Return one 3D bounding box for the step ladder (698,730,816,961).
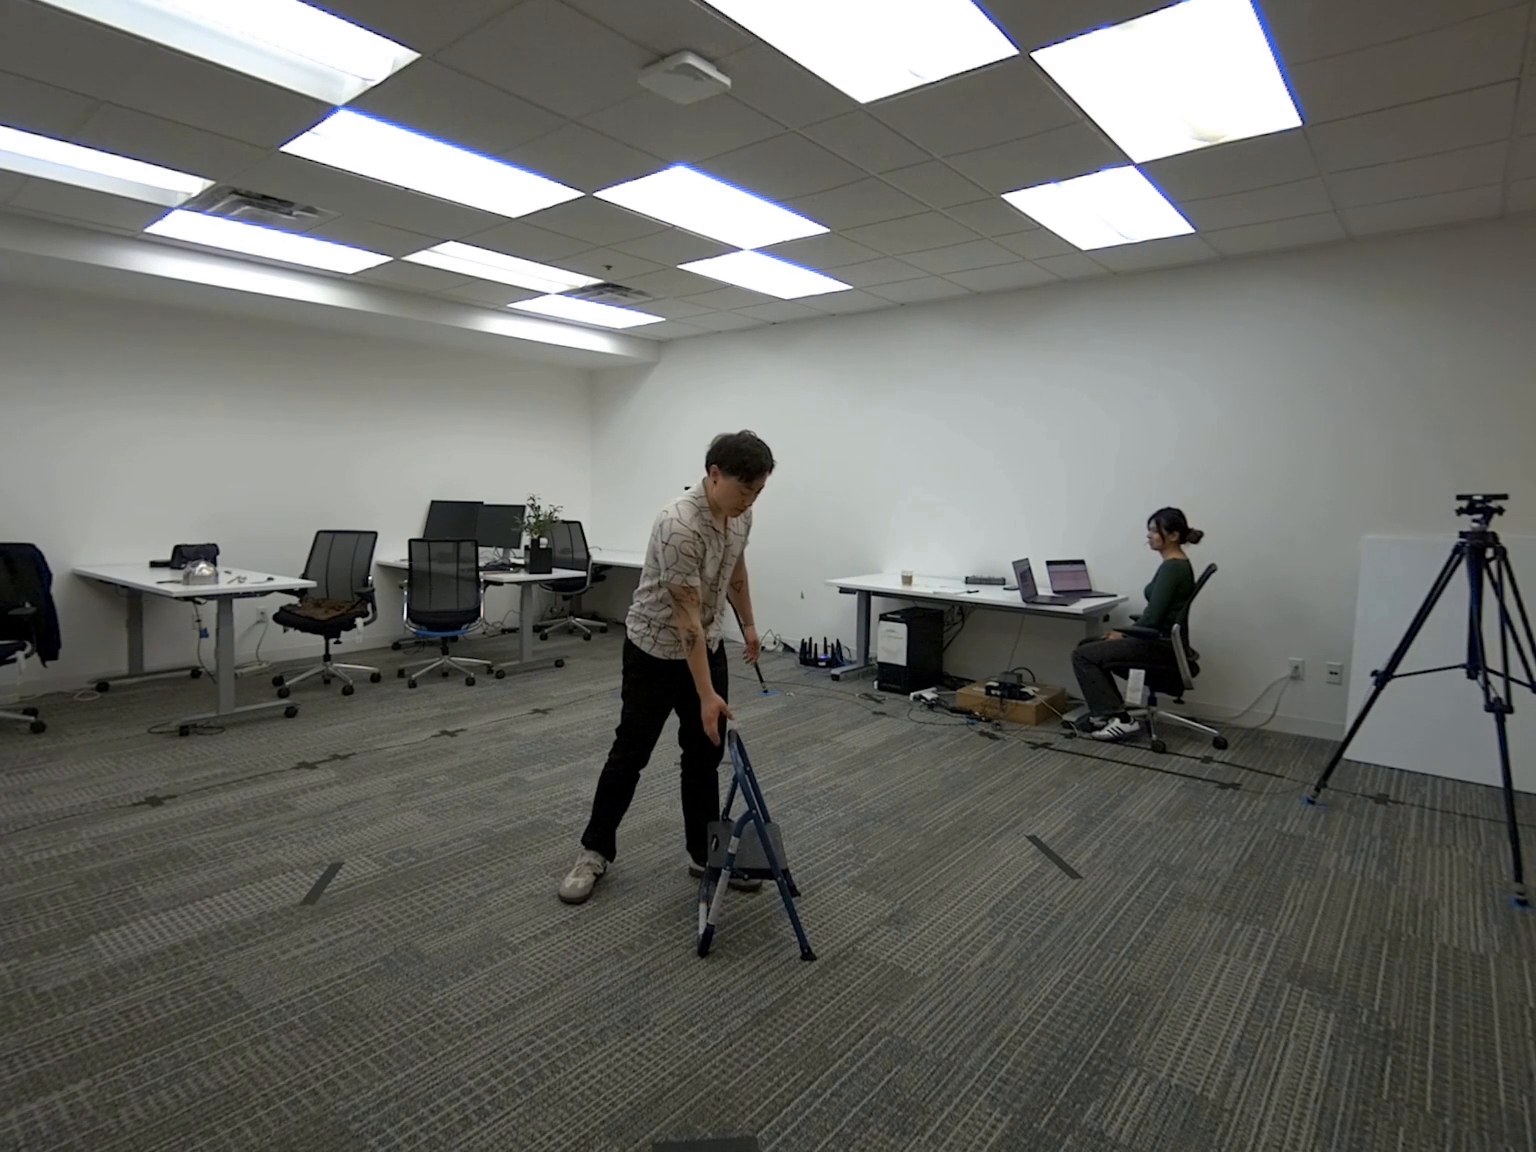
[{"bbox_3d":[-0.050,0.806,2.696,0.348,0.604,0.434,1,4,-5],"label":"step ladder"}]
